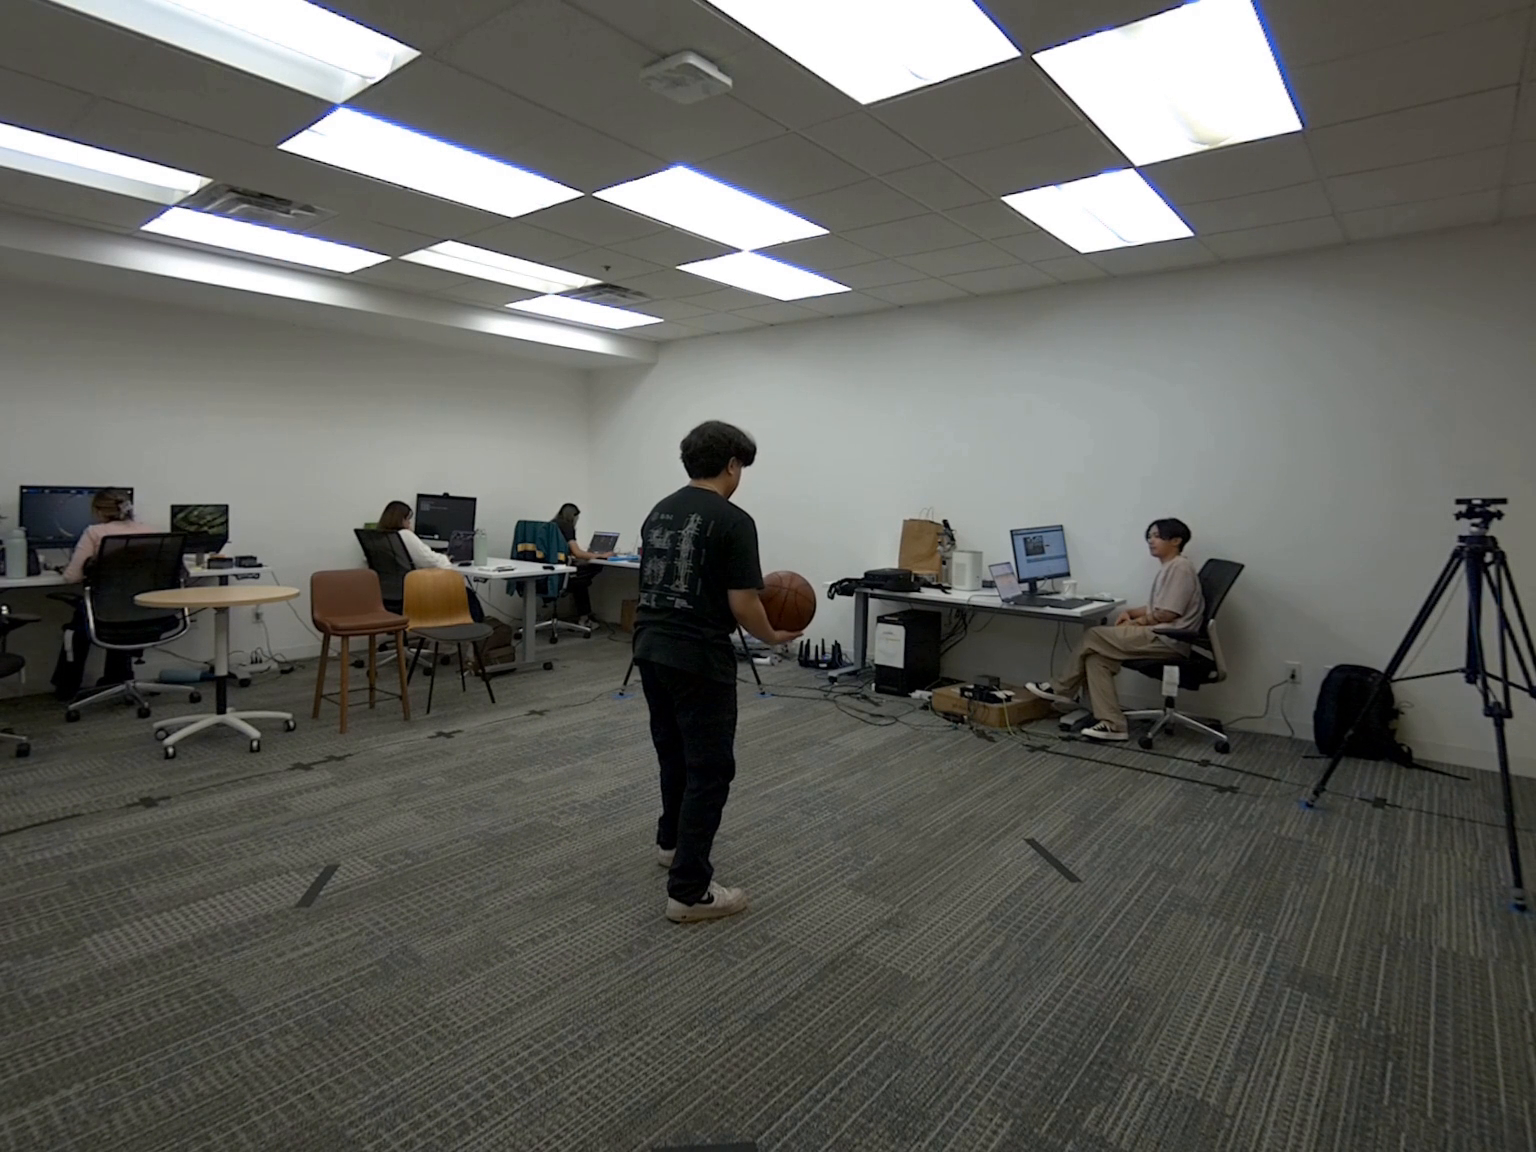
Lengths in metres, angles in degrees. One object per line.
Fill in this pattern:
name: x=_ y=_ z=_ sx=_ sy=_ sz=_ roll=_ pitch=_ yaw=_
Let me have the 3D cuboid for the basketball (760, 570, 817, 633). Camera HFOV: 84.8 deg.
basketball: x=0.051 y=0.096 z=3.080 sx=0.235 sy=0.235 sz=0.237 roll=1 pitch=4 yaw=-2
